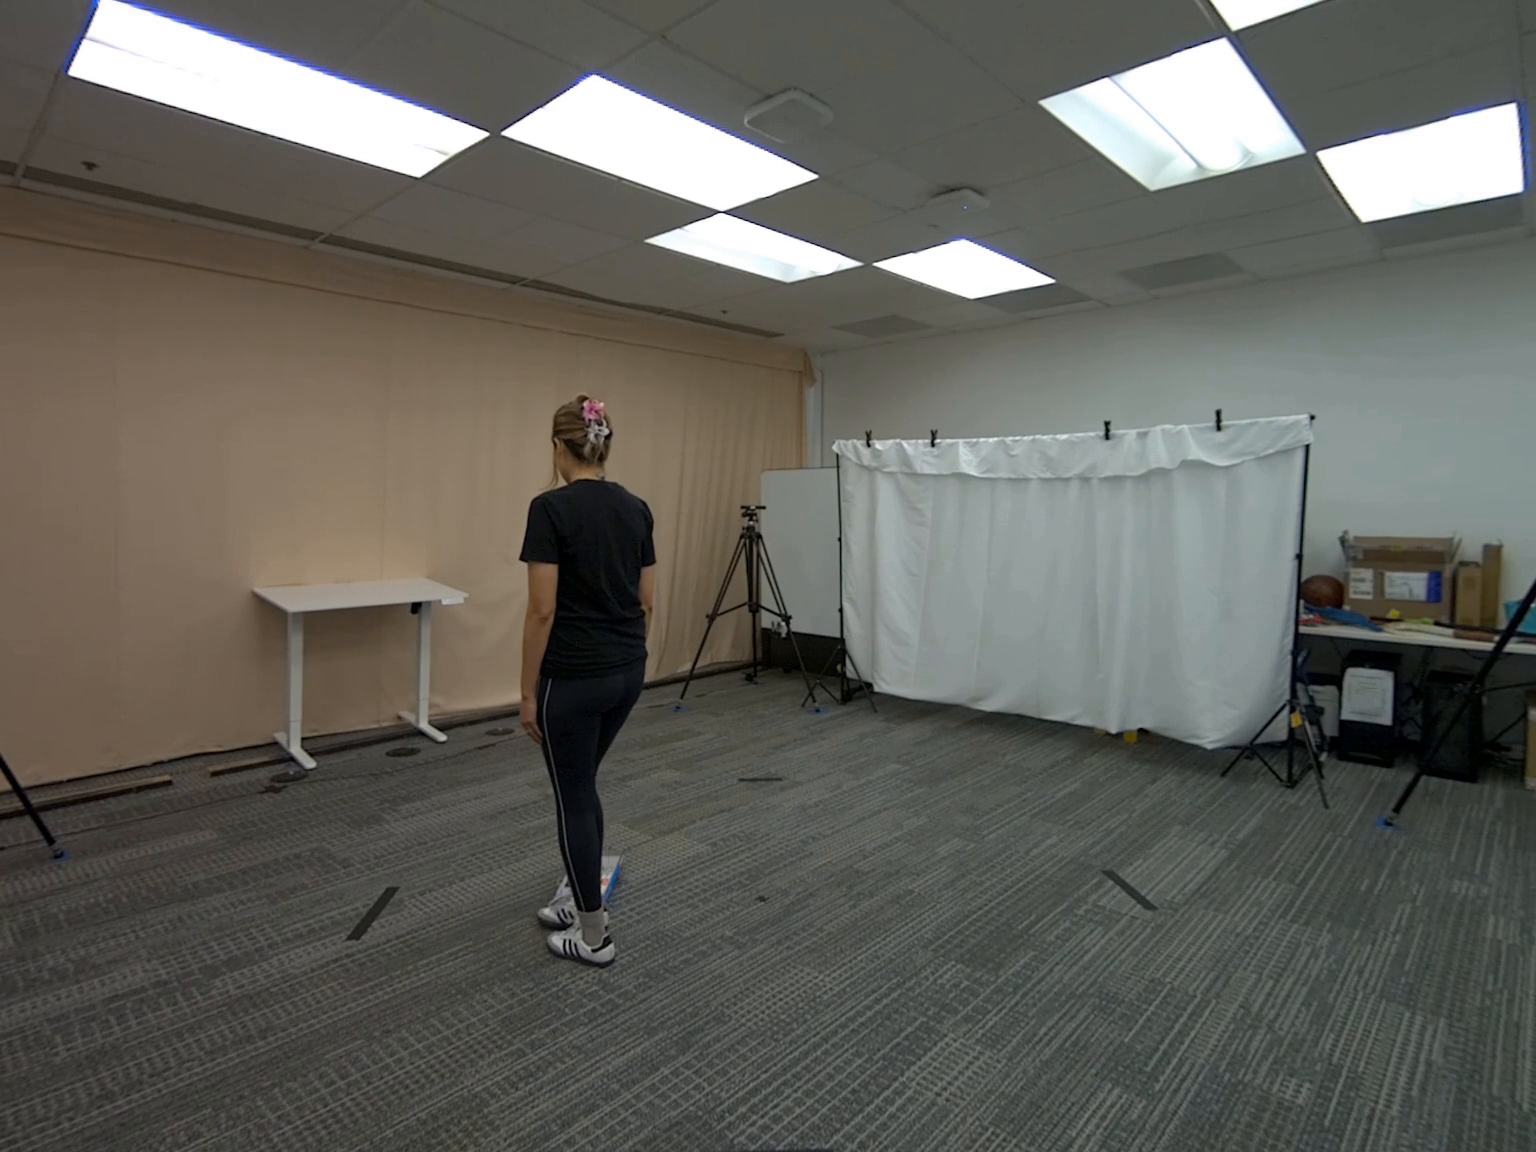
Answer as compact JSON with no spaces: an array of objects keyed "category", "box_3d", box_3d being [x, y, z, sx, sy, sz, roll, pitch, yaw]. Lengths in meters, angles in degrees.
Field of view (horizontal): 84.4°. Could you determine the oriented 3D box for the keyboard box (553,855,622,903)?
[{"category":"keyboard box","box_3d":[-0.649,1.113,3.056,0.176,0.059,0.437,0,5,1]}]
